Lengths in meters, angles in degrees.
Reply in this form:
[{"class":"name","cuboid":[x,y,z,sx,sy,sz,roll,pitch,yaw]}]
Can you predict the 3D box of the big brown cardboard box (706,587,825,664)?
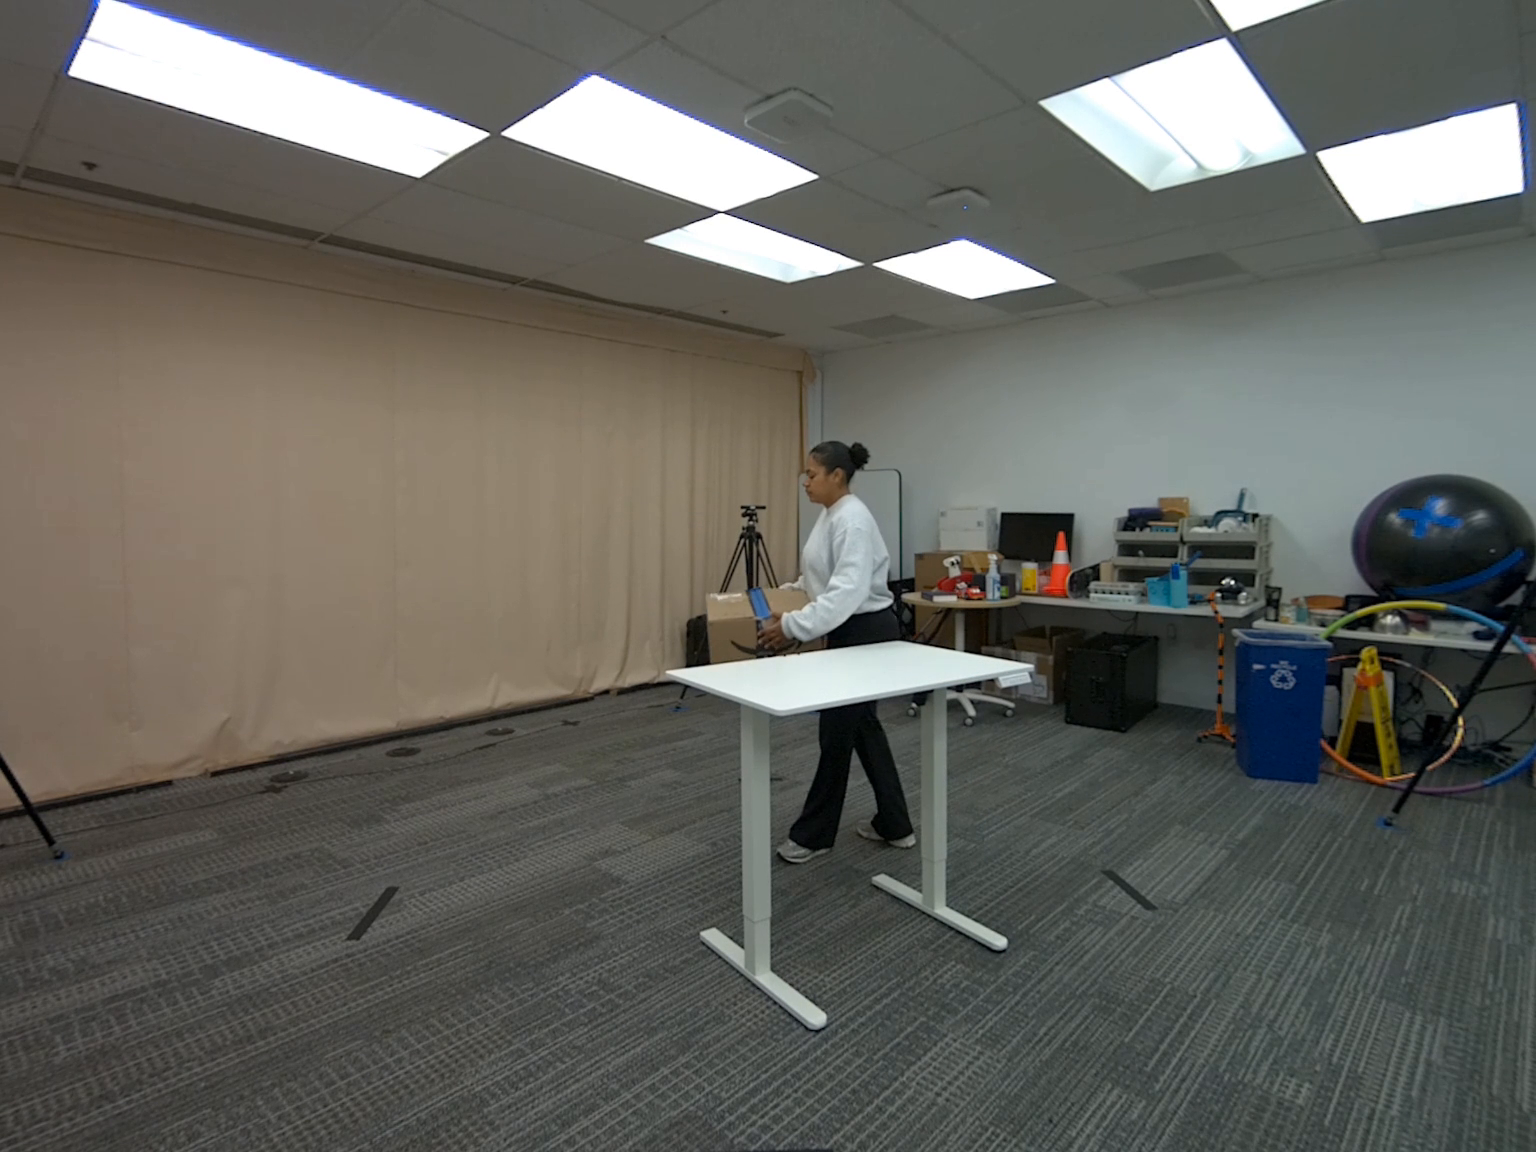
[{"class":"big brown cardboard box","cuboid":[-0.027,0.216,3.393,0.417,0.232,0.594,-4,9,-3]}]
